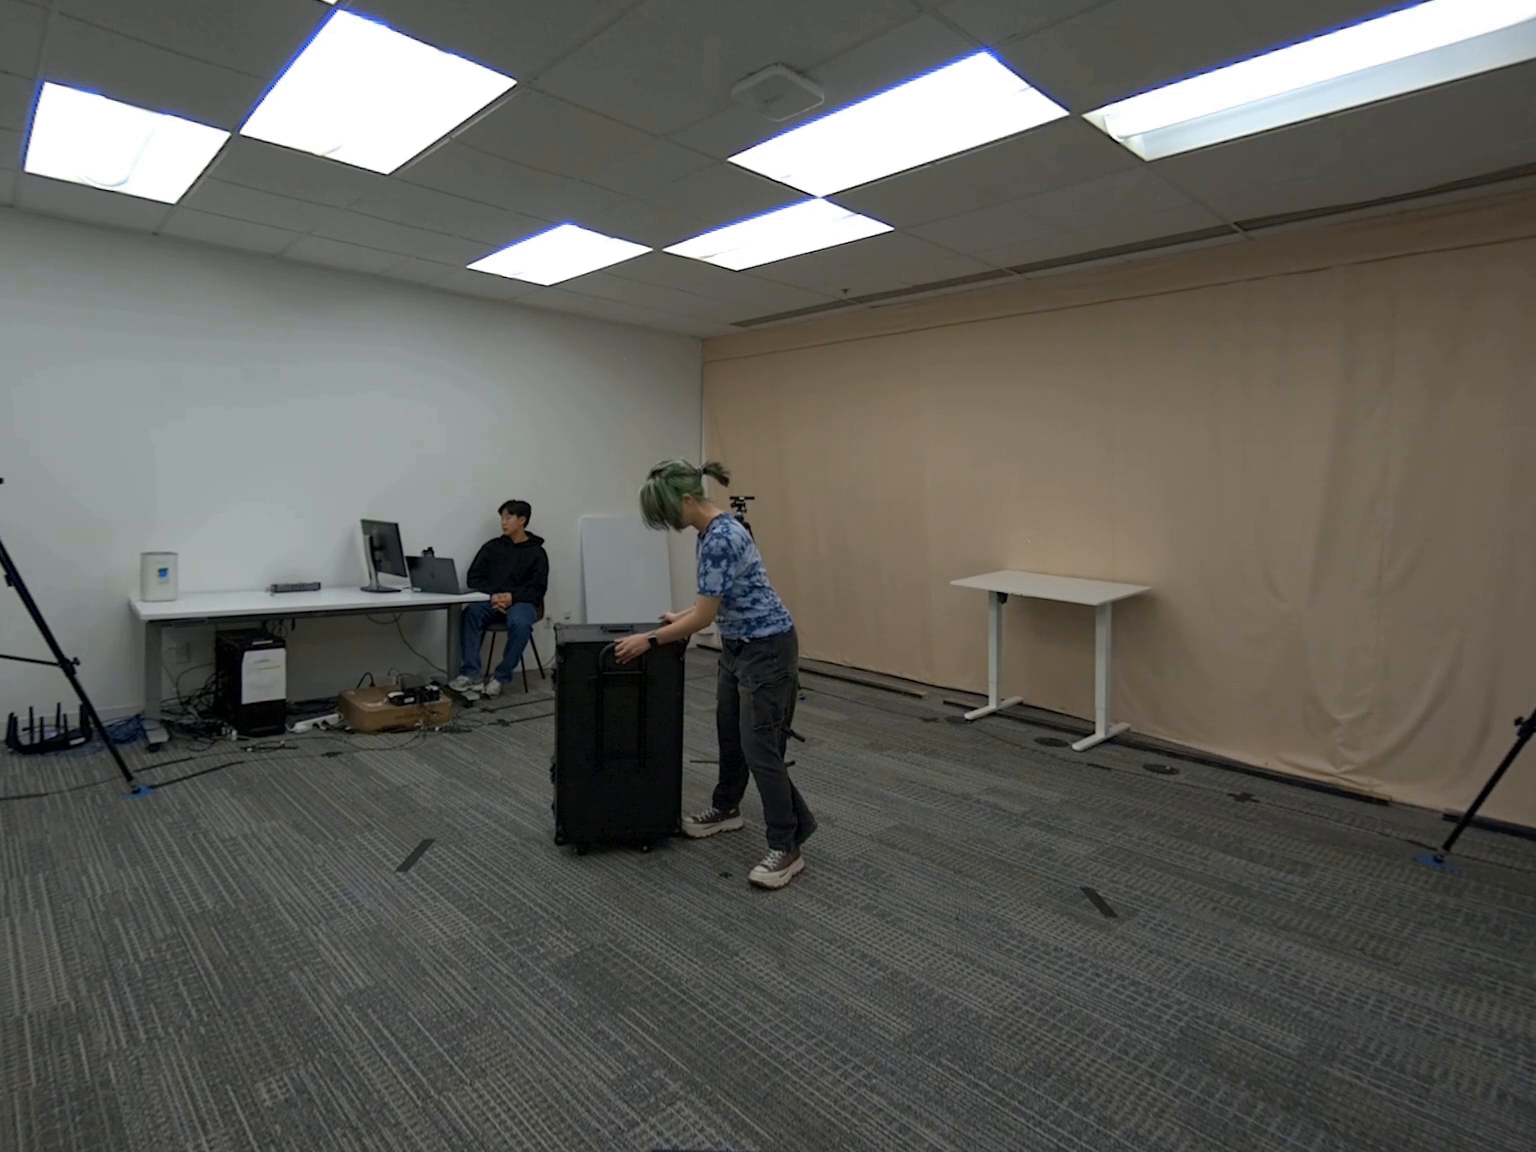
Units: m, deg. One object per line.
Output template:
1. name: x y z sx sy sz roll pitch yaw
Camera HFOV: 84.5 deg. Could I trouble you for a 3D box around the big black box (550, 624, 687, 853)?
1. big black box: -0.603 0.637 3.345 0.515 0.857 0.402 0 7 -14
